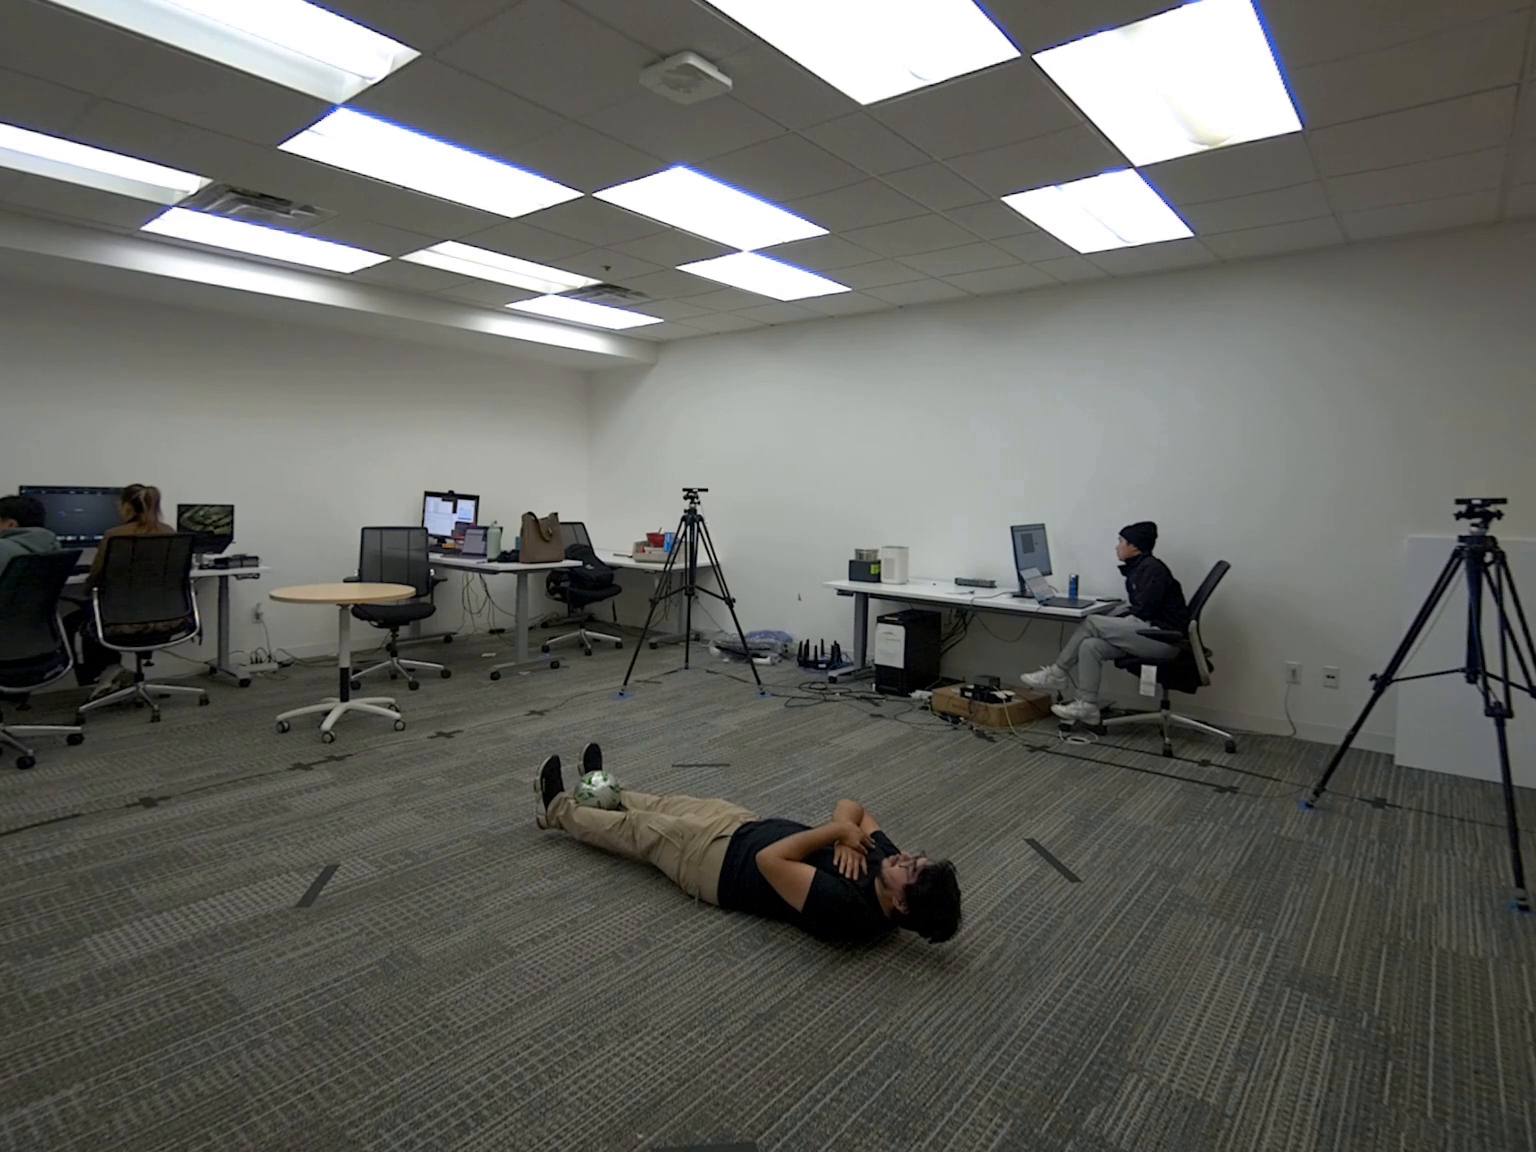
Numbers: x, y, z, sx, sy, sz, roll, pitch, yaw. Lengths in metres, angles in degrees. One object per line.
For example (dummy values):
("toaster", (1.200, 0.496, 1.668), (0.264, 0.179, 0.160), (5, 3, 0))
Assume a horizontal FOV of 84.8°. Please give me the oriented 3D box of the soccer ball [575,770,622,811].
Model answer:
("soccer ball", (-0.698, 0.870, 3.390), (0.187, 0.187, 0.188), (0, 4, -2))
